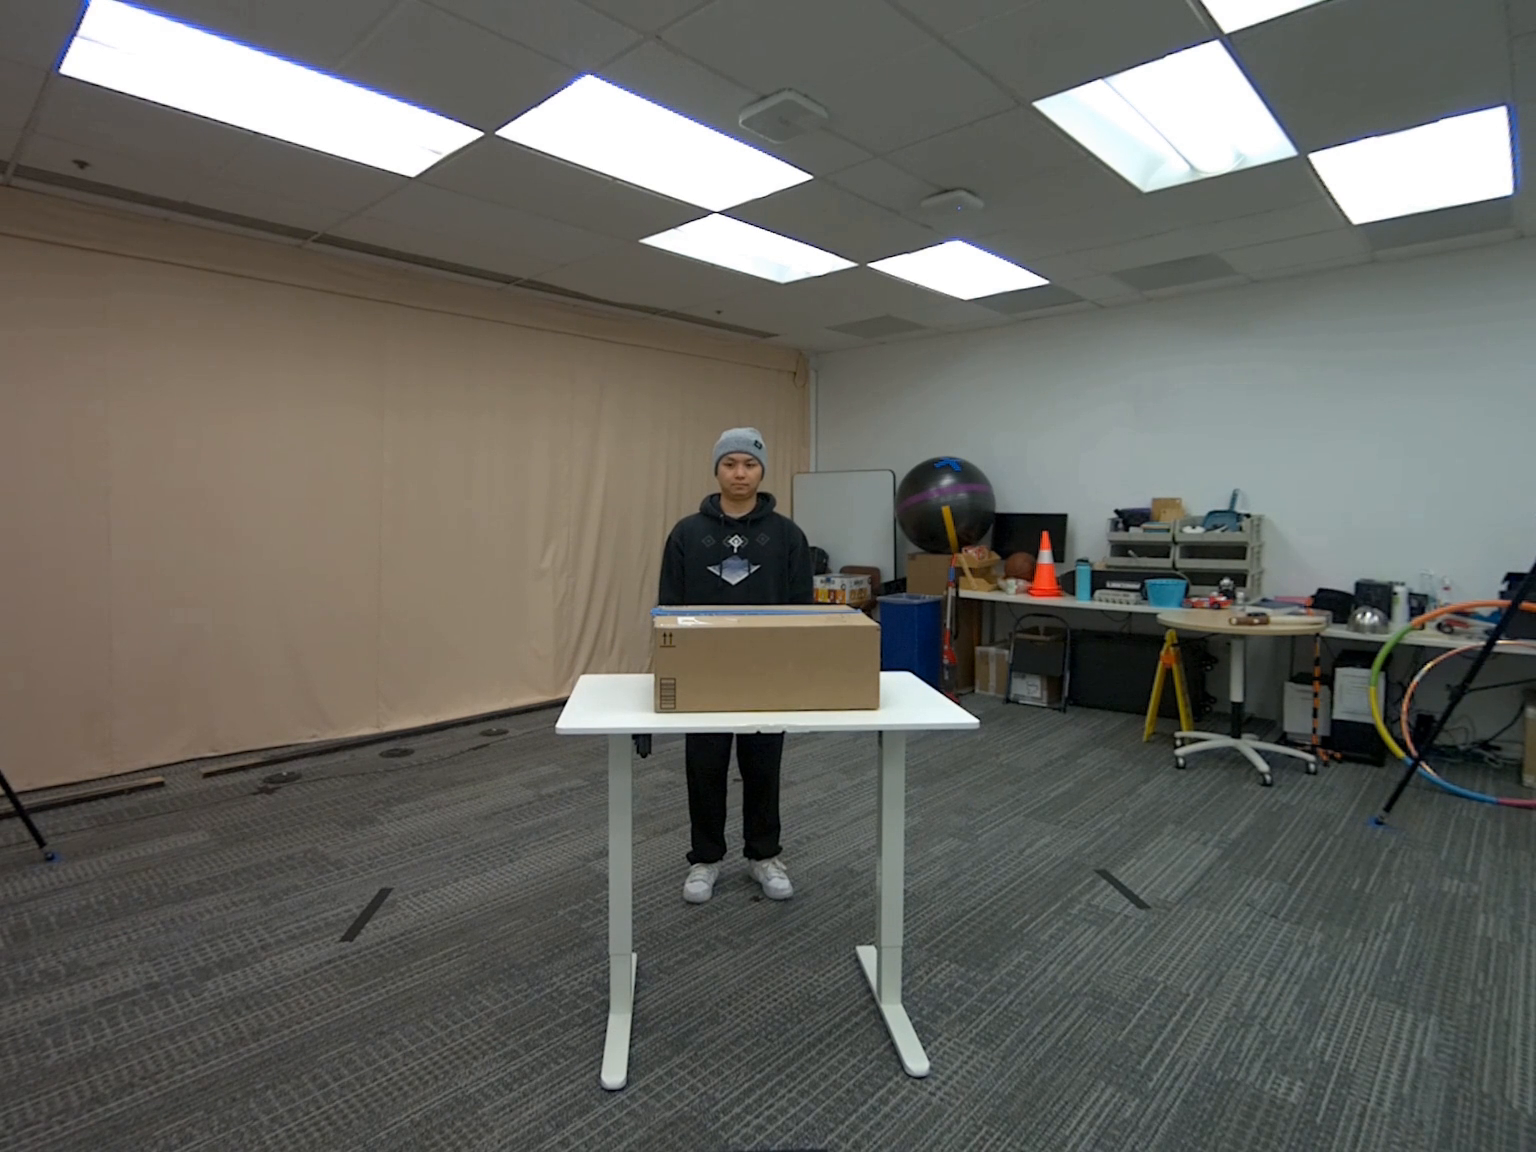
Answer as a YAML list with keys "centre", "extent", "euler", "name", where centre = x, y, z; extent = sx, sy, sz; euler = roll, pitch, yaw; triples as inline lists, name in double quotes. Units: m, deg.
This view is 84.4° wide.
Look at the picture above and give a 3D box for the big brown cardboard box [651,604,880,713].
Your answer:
- centre: [-0.029, 0.212, 2.297]
  extent: [0.586, 0.232, 0.421]
  euler: [1, 4, -5]
  name: "big brown cardboard box"
